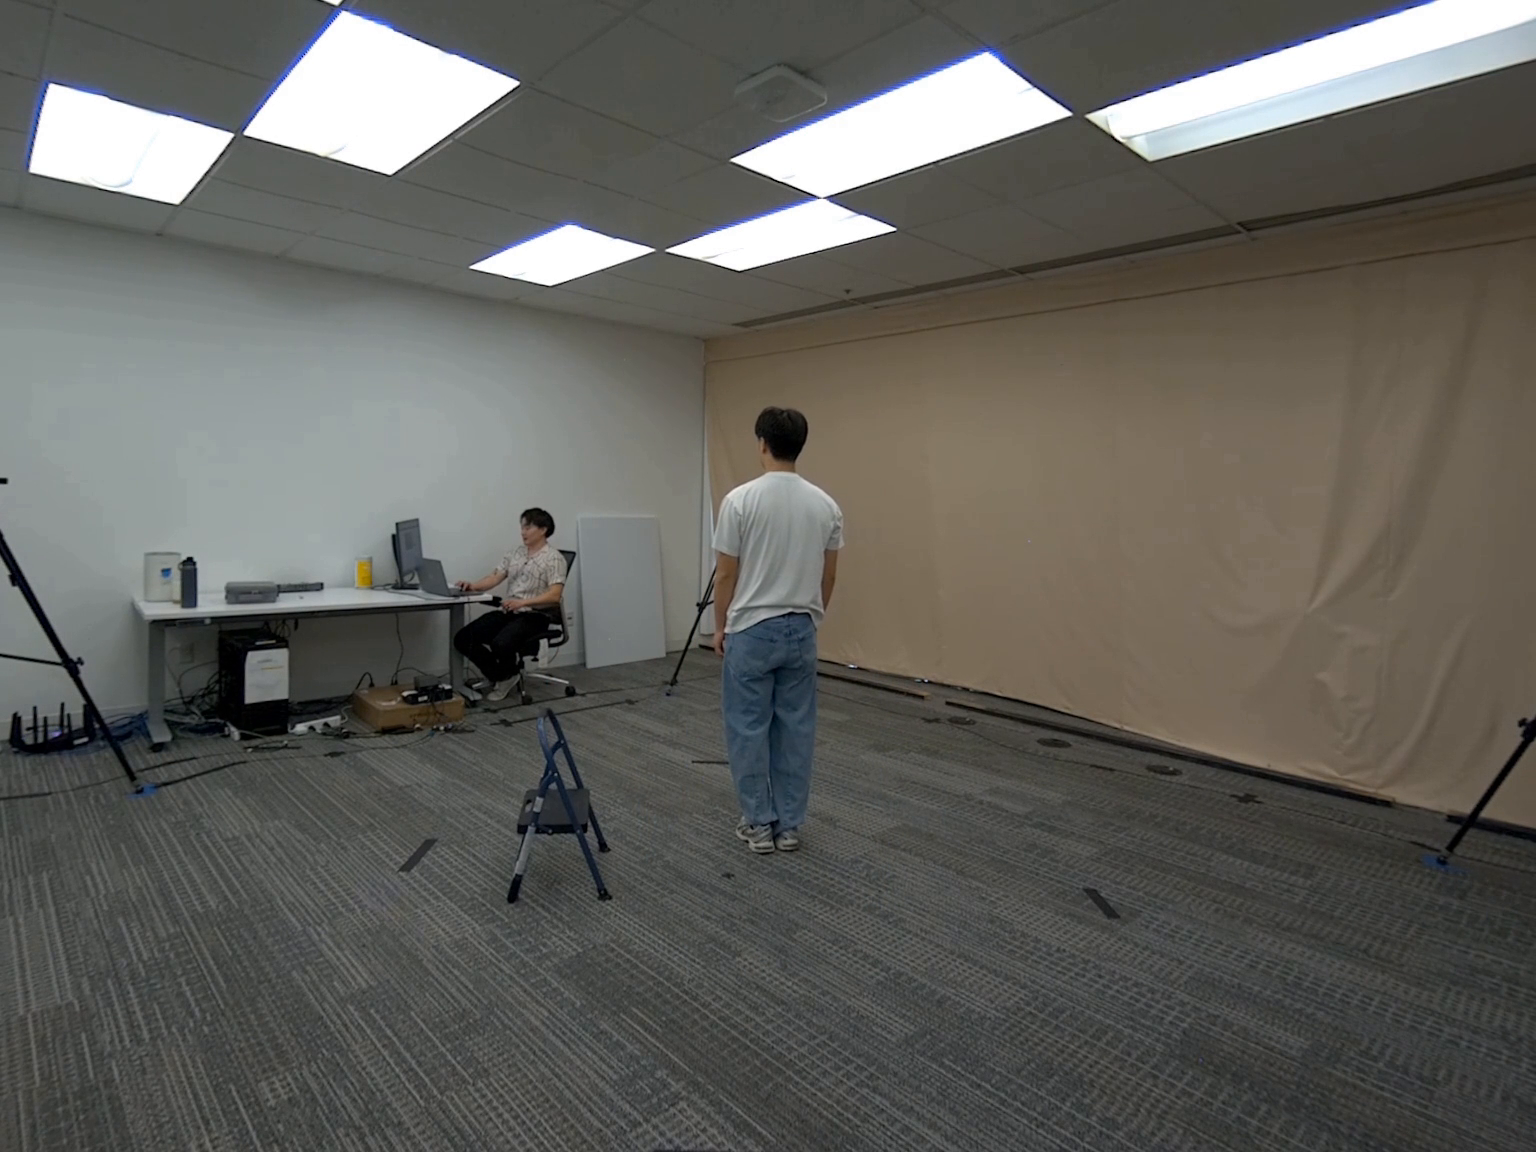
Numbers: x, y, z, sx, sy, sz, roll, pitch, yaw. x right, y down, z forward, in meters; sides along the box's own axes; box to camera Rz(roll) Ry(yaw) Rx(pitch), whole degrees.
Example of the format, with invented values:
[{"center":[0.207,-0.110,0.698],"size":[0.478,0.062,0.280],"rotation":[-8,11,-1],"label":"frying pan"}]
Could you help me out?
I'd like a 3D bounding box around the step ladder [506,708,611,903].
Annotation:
[{"center":[-0.752,0.797,3.066],"size":[0.346,0.605,0.435],"rotation":[1,3,-11],"label":"step ladder"}]
